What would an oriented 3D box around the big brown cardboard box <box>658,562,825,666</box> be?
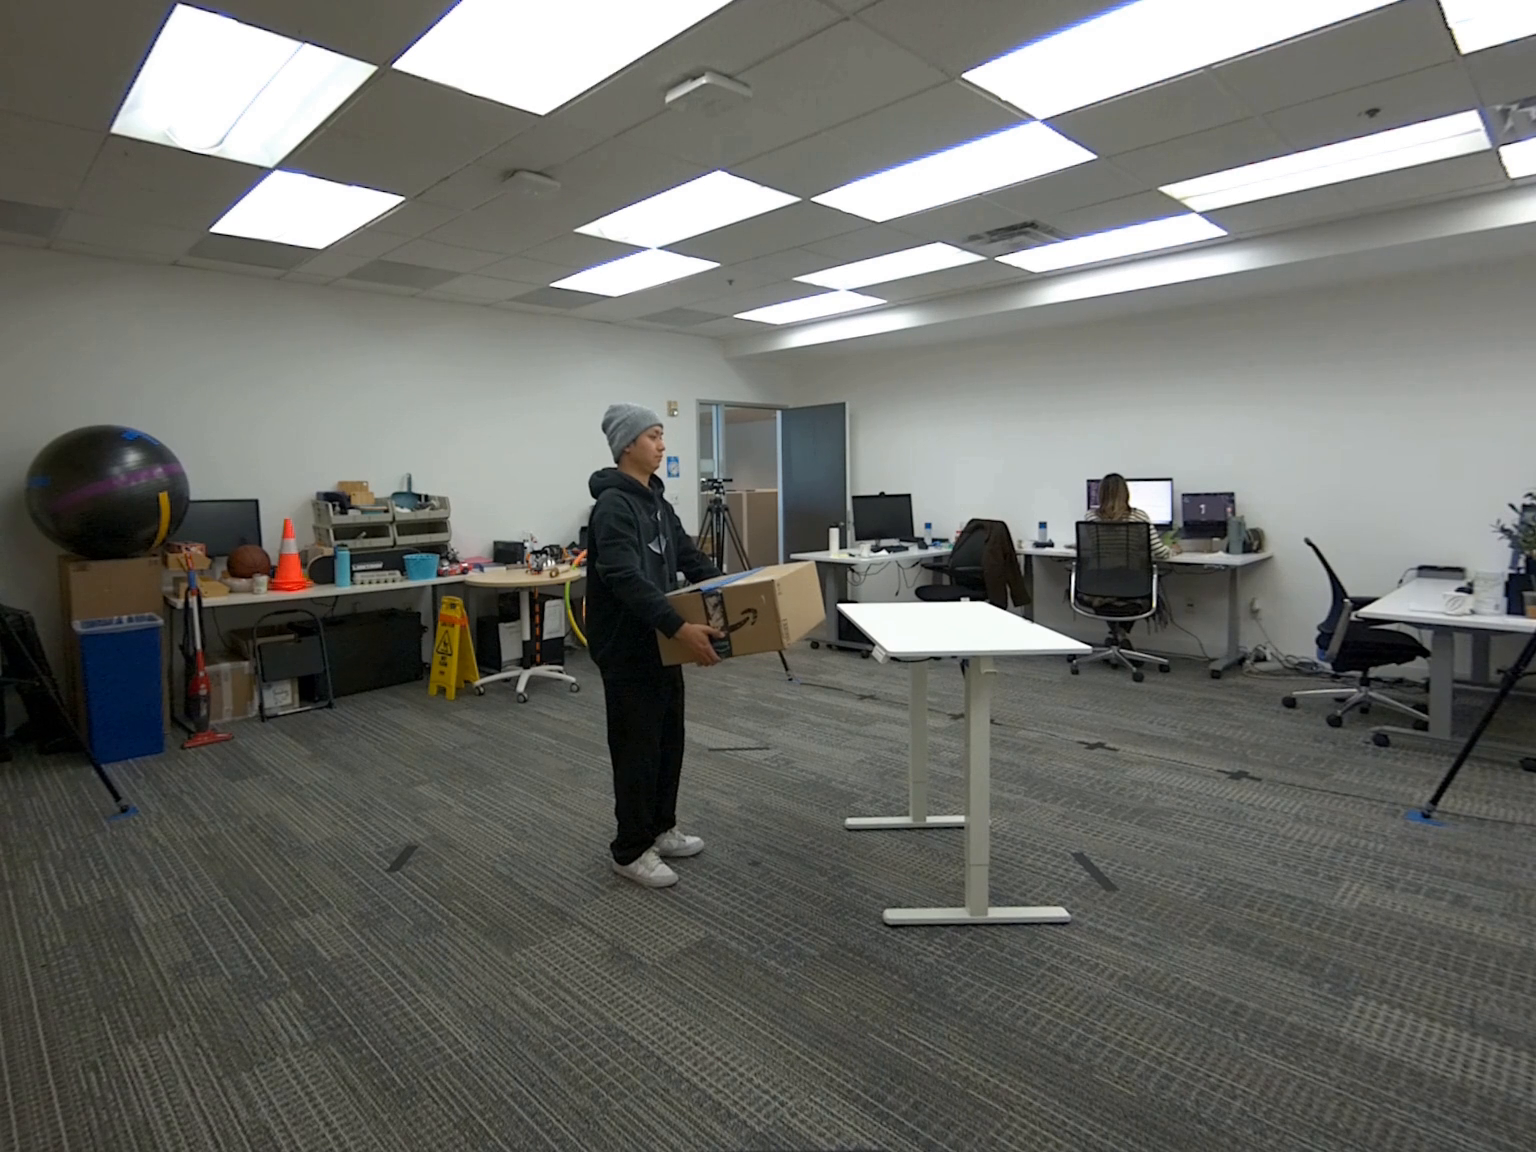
[{"bbox_3d":[-0.090,0.114,2.881,0.423,0.233,0.581,-10,3,18],"label":"big brown cardboard box"}]
